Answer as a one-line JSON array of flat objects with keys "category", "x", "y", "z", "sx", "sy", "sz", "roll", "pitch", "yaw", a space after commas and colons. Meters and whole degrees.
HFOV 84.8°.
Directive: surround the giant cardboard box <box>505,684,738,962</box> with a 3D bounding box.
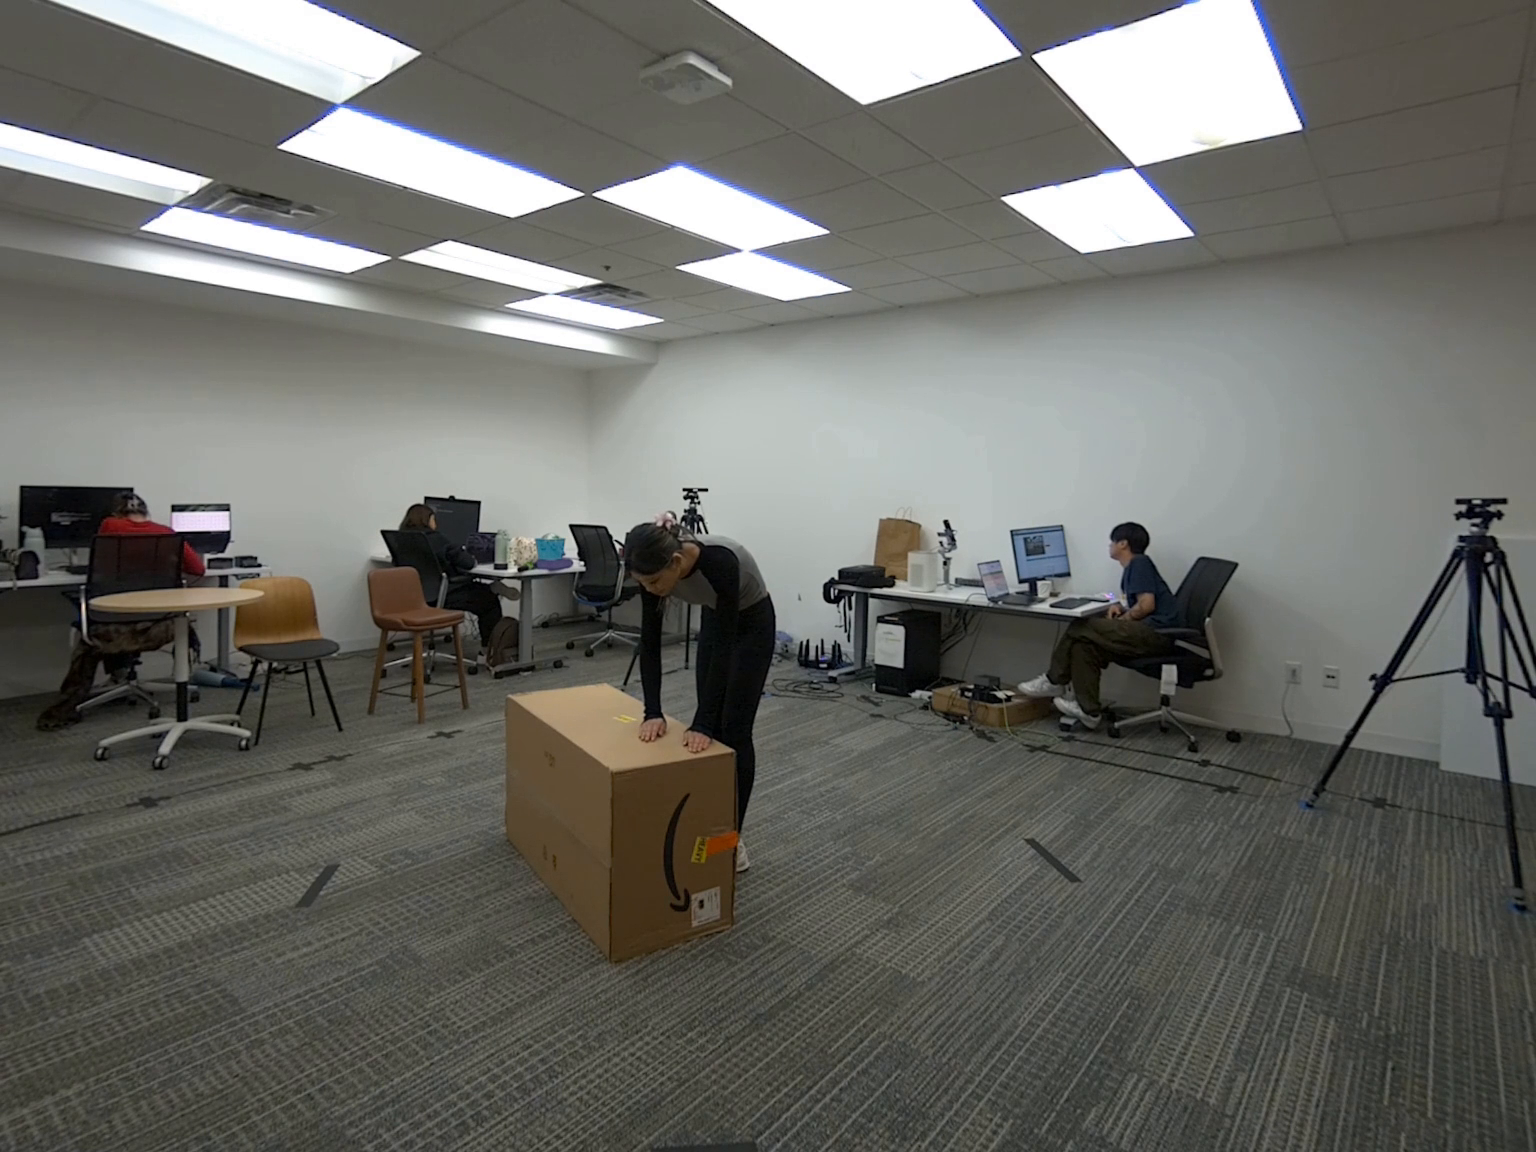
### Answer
[{"category": "giant cardboard box", "x": -0.575, "y": 0.786, "z": 2.998, "sx": 0.414, "sy": 0.575, "sz": 1.059, "roll": -1, "pitch": 6, "yaw": -32}]
